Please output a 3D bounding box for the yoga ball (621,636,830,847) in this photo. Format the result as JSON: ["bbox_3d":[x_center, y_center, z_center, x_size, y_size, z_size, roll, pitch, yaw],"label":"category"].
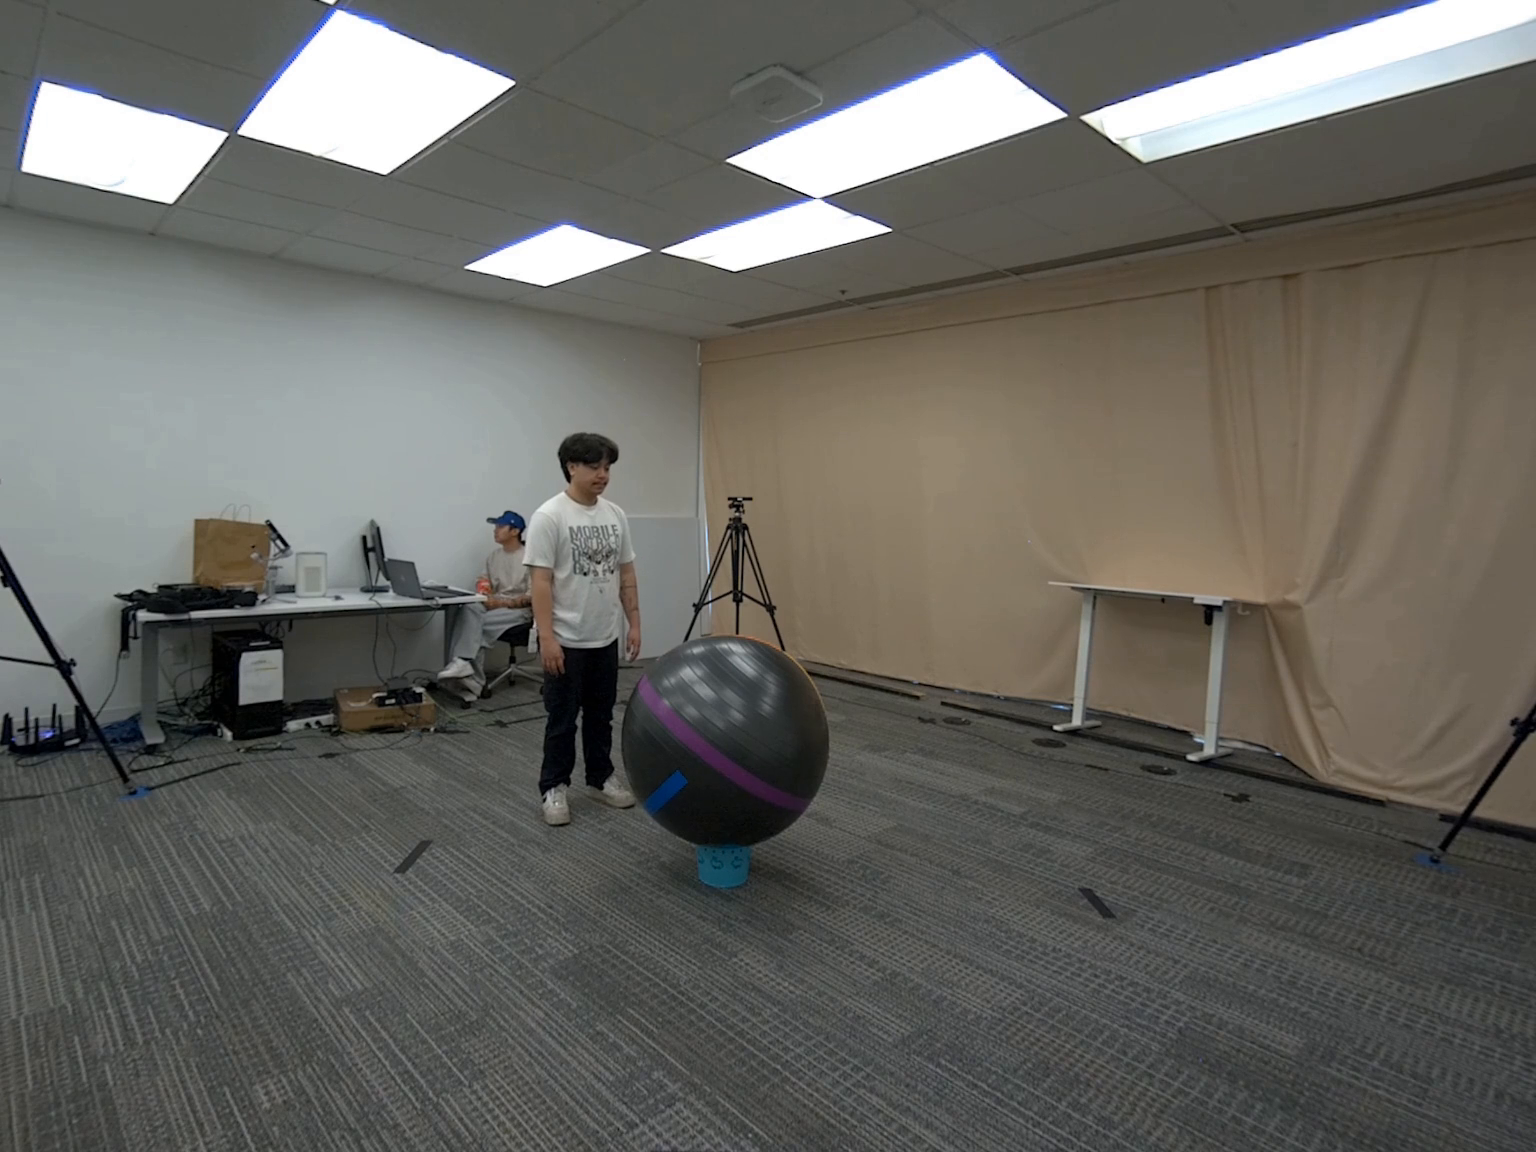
[{"bbox_3d":[-0.157,0.596,3.086,0.757,0.756,0.761,1,4,-1],"label":"yoga ball"}]
